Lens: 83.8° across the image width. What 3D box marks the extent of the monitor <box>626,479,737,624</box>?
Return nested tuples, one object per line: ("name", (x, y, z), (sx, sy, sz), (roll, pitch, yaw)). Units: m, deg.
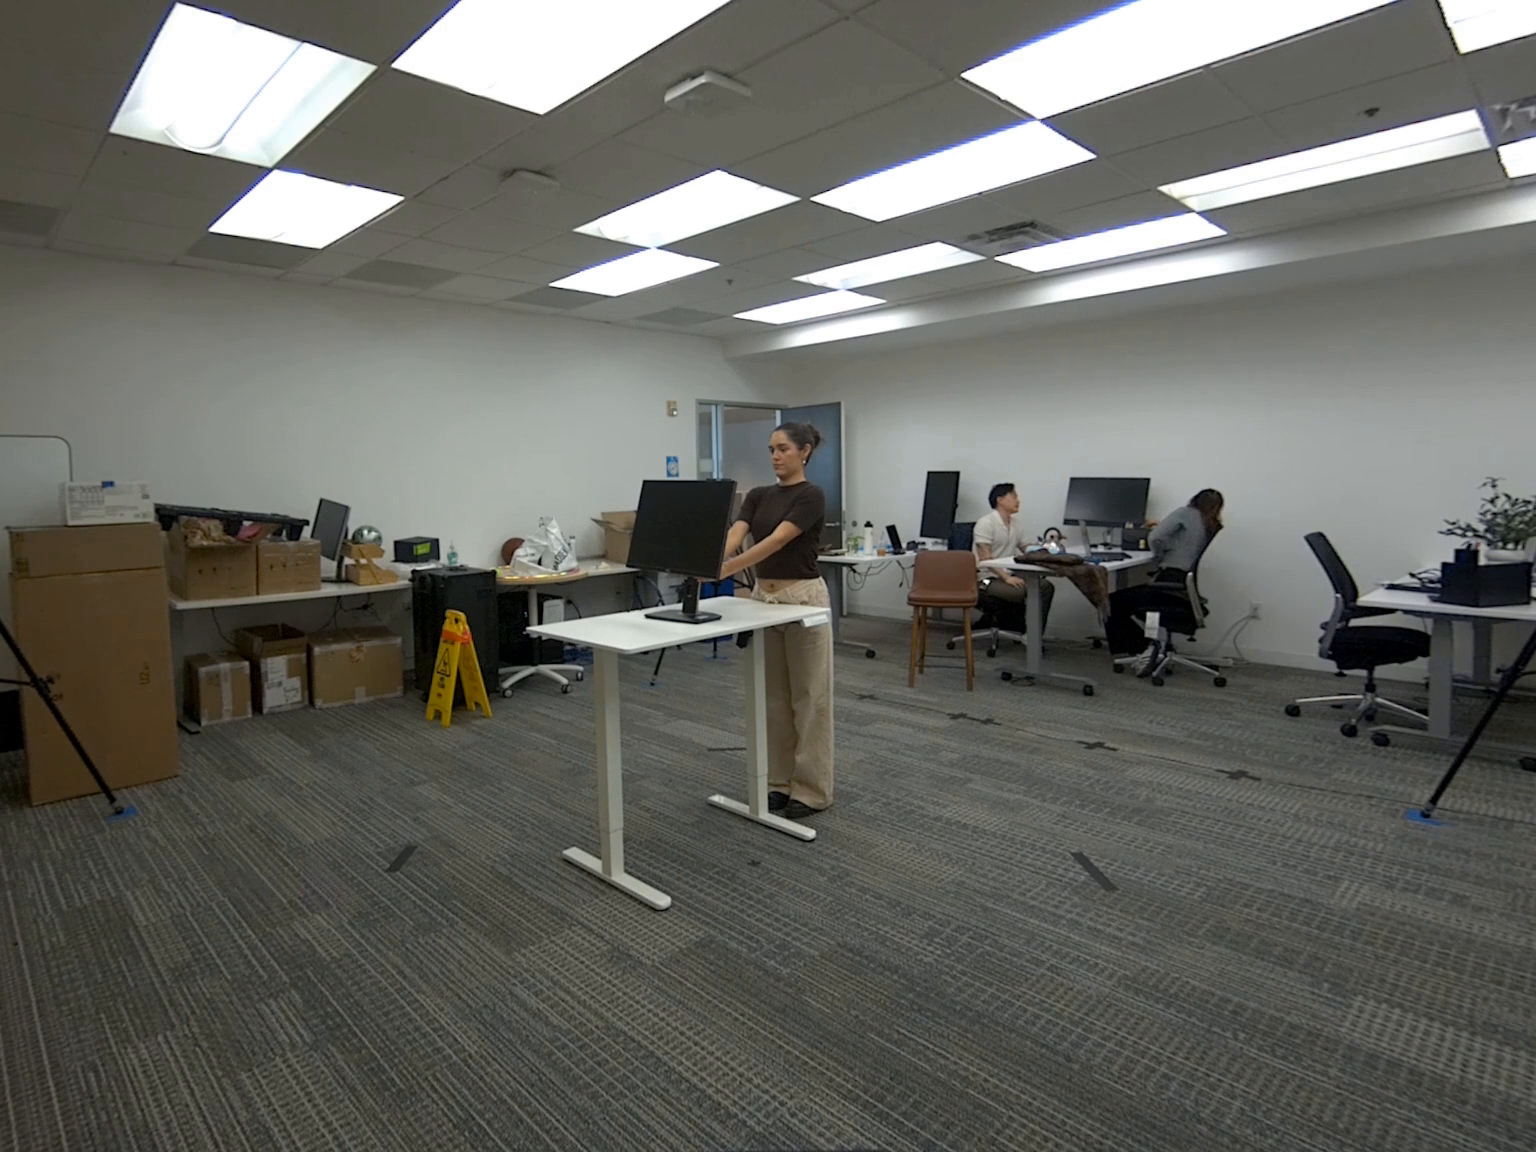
("monitor", (-0.305, -0.094, 3.181), (0.556, 0.521, 0.182), (4, 5, 45))
